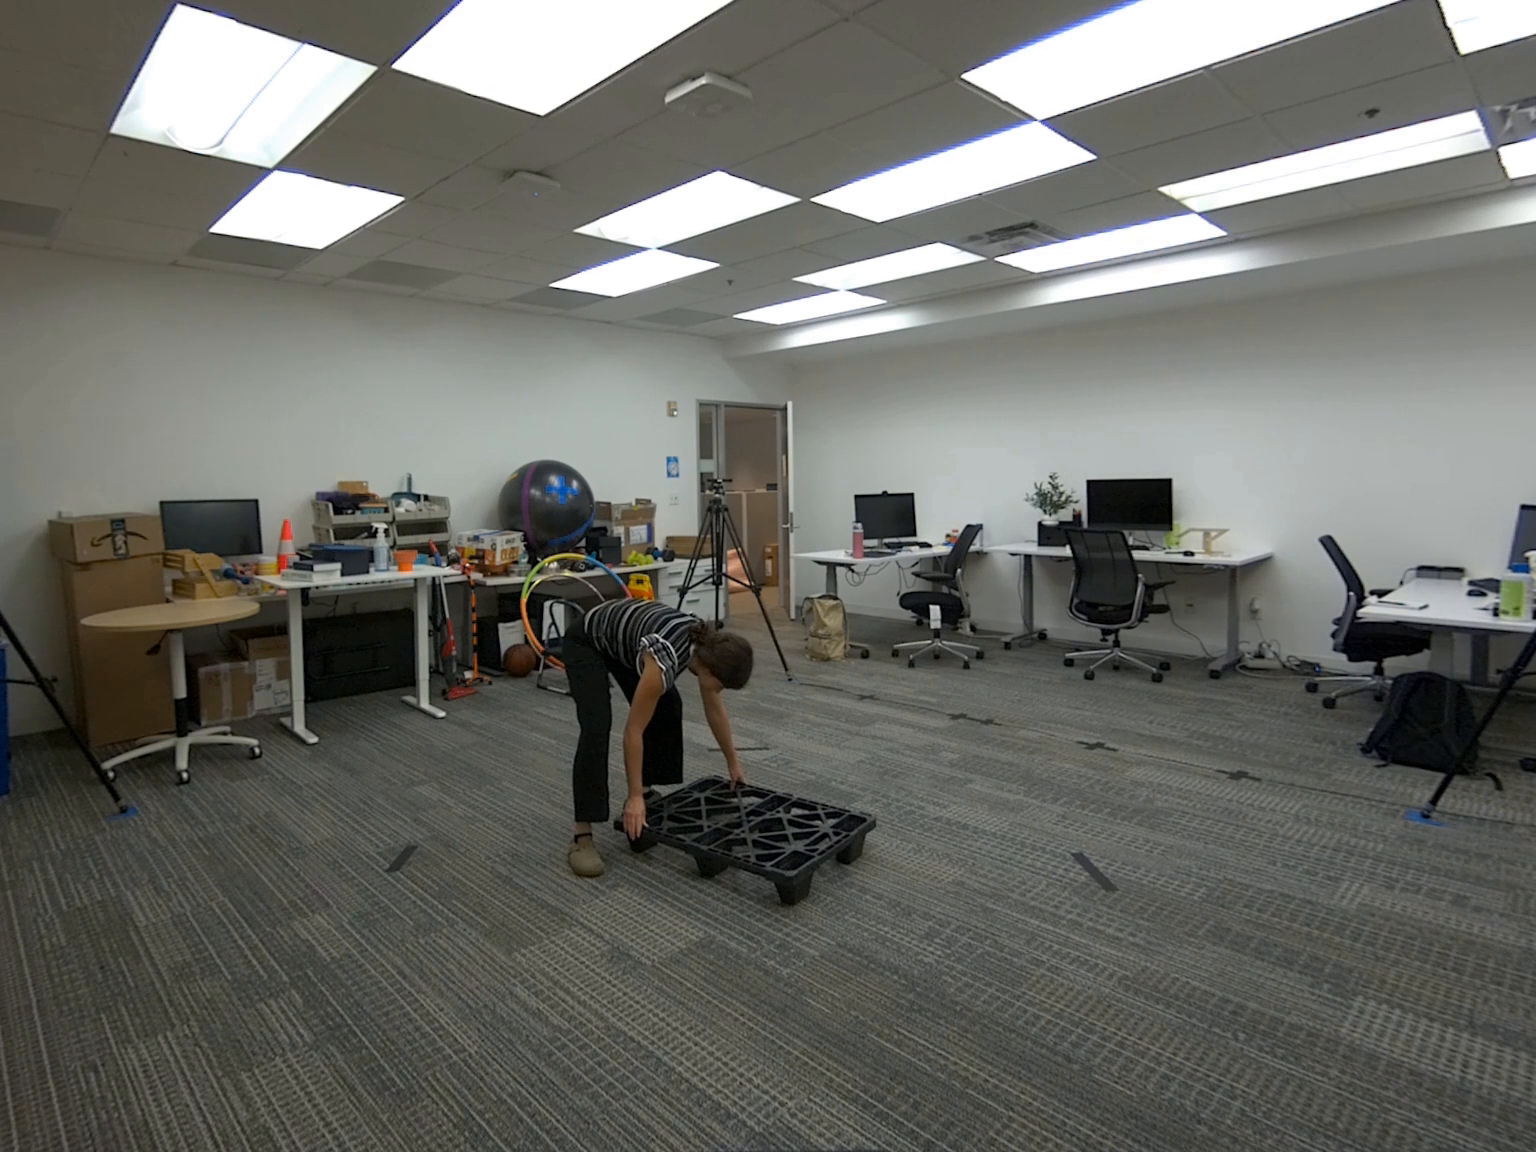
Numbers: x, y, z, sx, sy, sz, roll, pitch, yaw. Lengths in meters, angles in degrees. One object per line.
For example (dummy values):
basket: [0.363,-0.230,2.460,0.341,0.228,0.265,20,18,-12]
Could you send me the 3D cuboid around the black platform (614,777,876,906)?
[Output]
black platform: [-0.083,0.967,3.194,0.829,0.143,0.590,4,7,37]
